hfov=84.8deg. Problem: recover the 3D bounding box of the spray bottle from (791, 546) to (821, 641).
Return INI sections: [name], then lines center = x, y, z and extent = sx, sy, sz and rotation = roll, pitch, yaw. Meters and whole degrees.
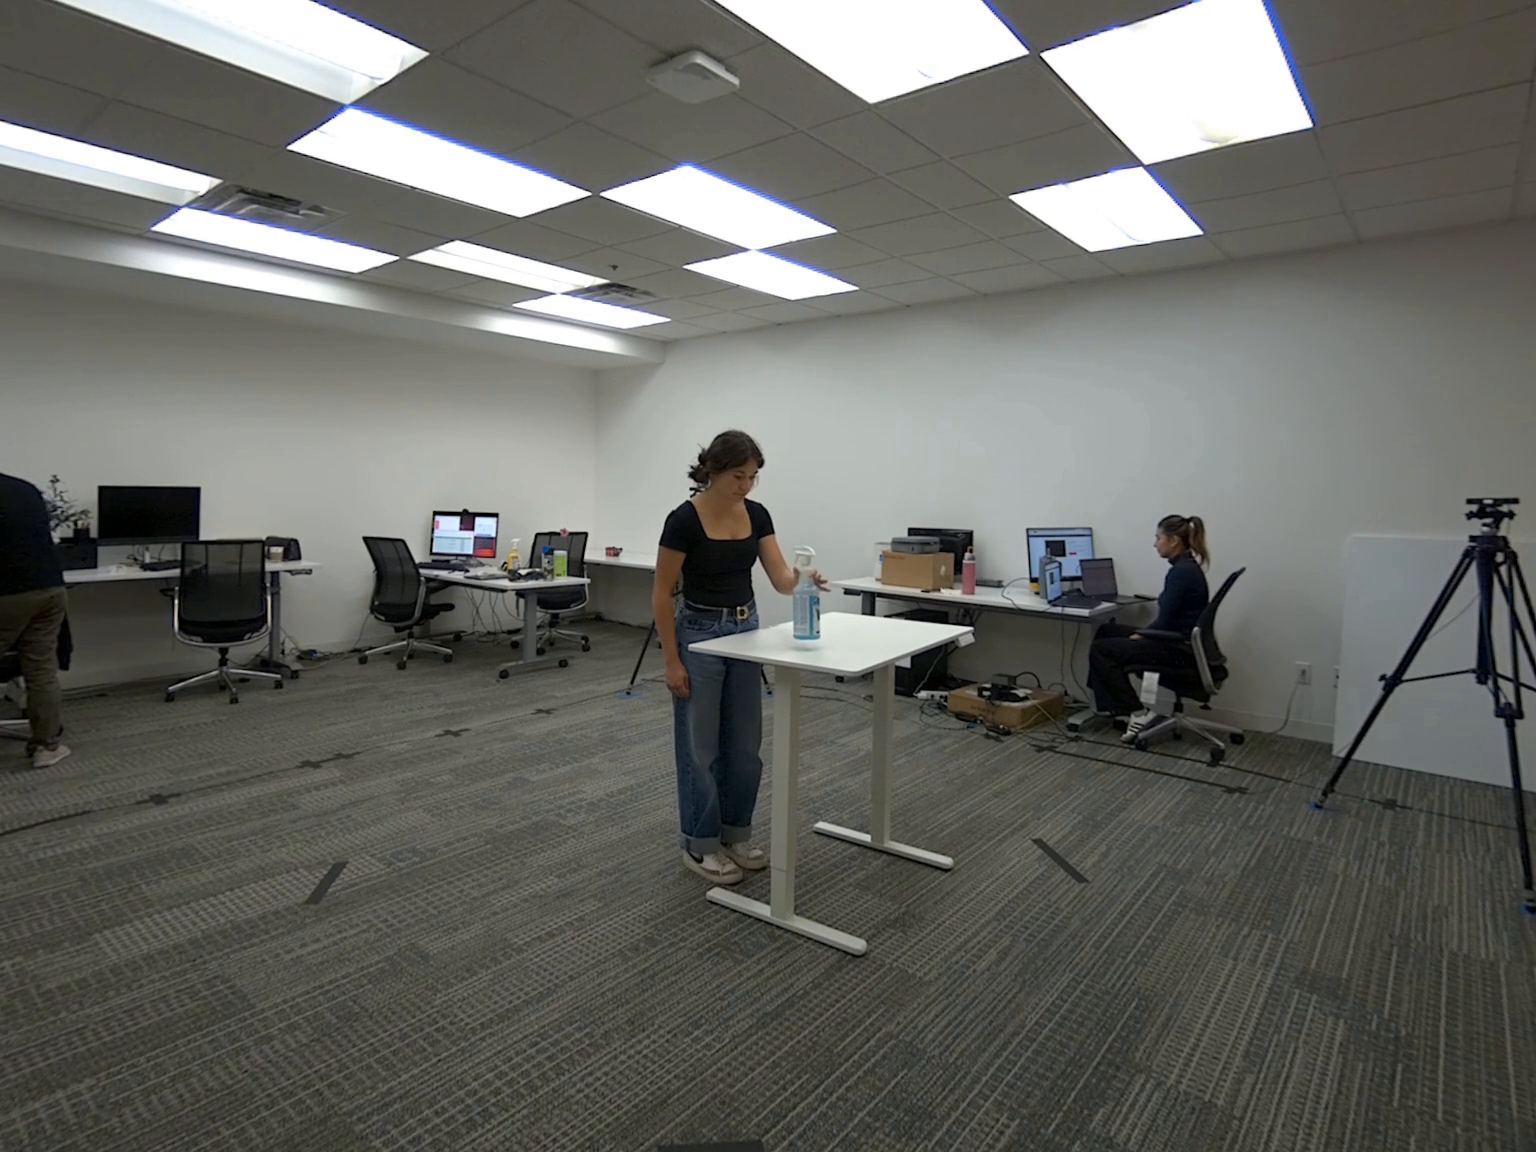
[spray bottle]
center = 0.114, 0.053, 2.719
extent = 0.085, 0.298, 0.091
rotation = -1, -4, -17
